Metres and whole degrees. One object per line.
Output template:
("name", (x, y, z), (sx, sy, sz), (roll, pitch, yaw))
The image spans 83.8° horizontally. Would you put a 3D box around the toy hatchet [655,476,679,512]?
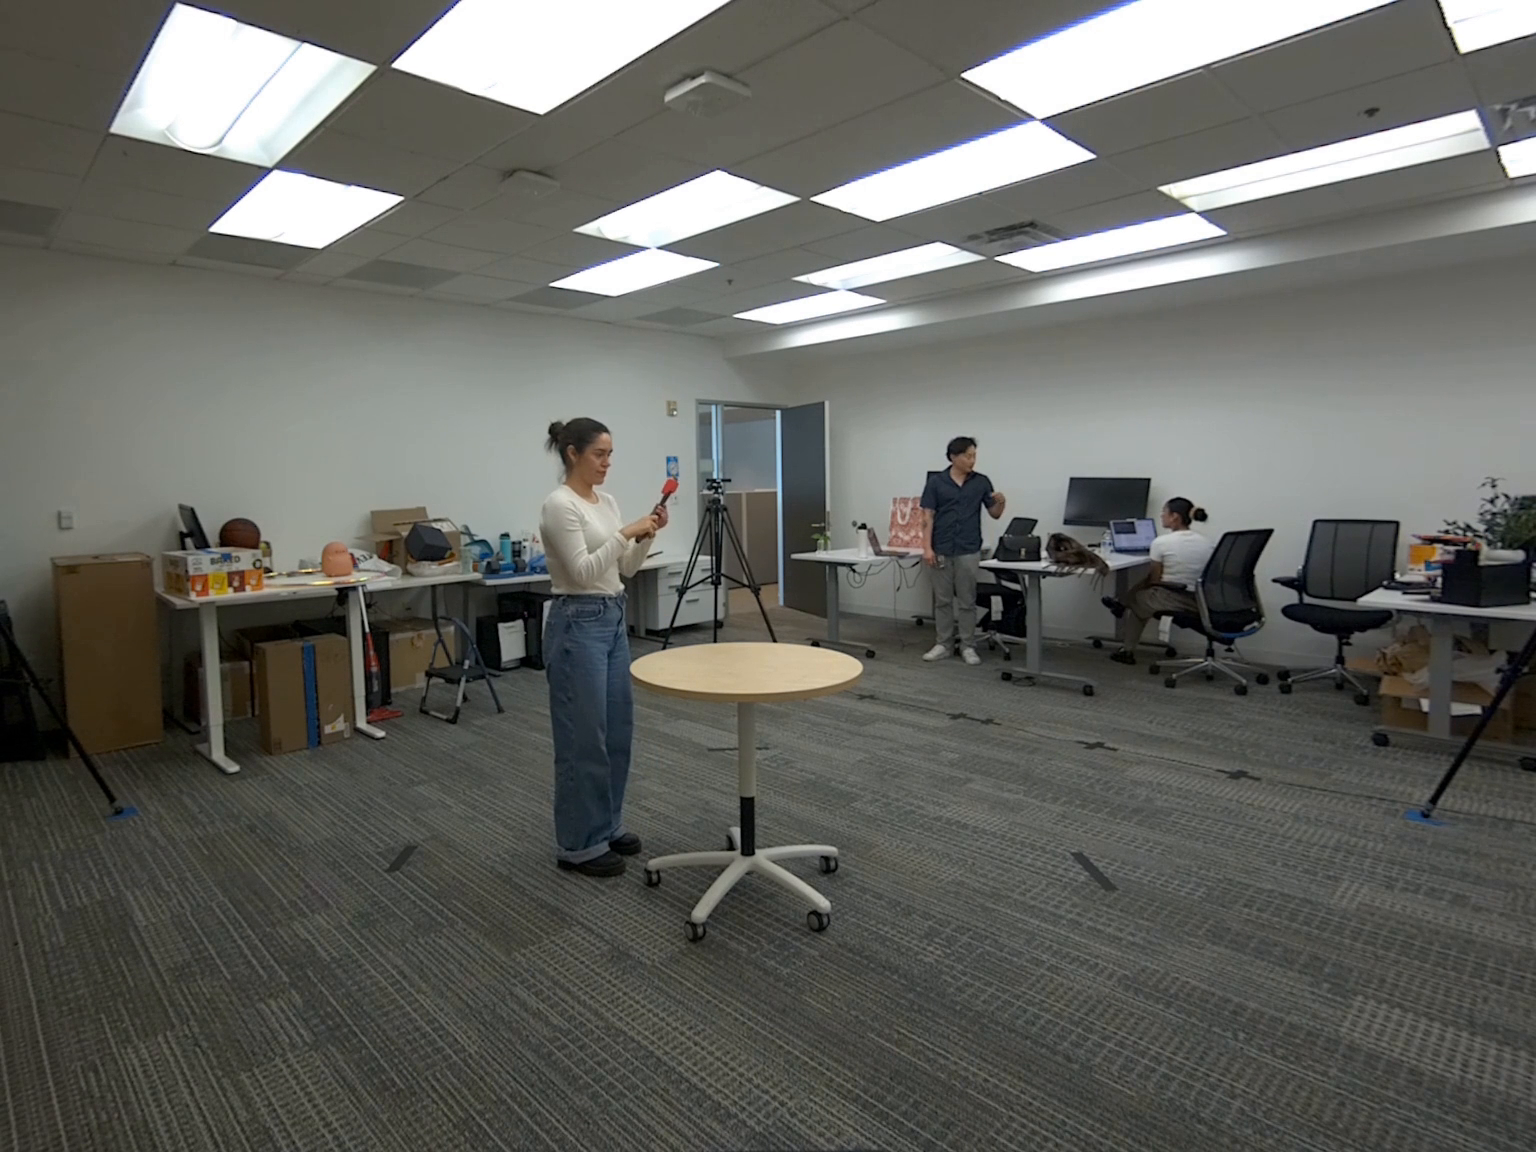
("toy hatchet", (-0.397, -0.247, 3.002), (0.030, 0.271, 0.129), (29, -24, 5))
